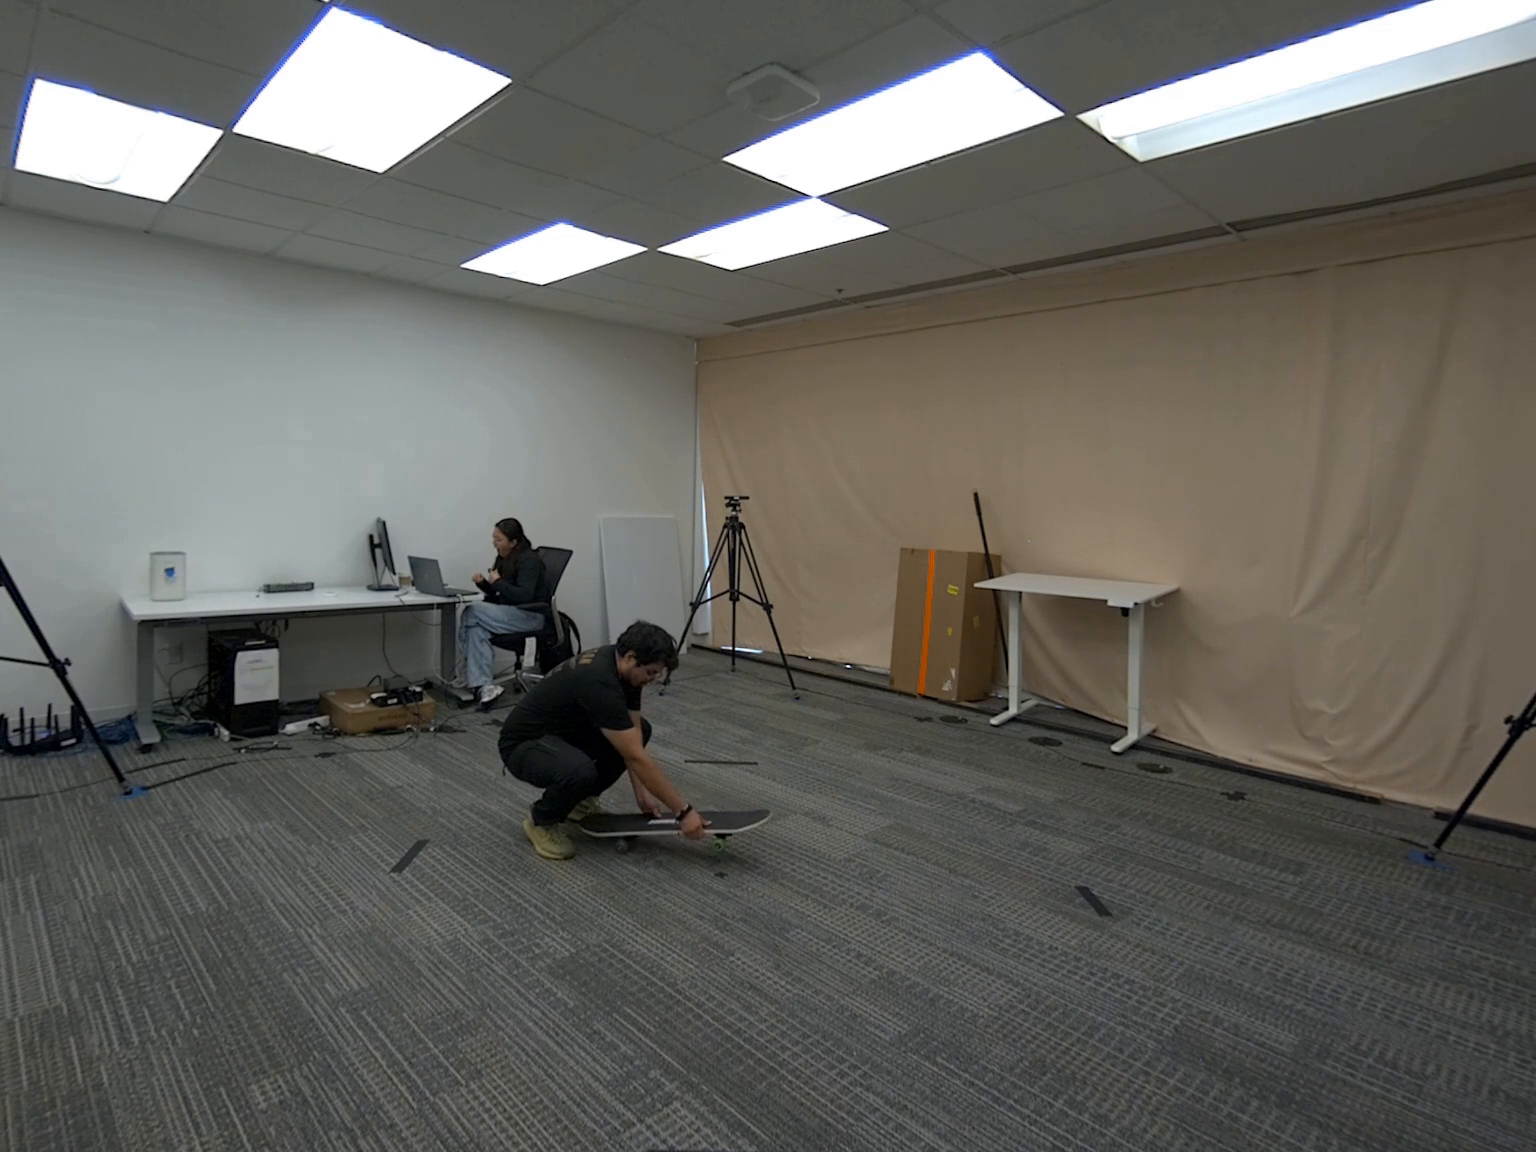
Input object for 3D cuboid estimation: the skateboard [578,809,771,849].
[{"bbox_3d":[-0.372,0.997,3.284,0.793,0.110,0.192,-7,4,14],"label":"skateboard"}]
